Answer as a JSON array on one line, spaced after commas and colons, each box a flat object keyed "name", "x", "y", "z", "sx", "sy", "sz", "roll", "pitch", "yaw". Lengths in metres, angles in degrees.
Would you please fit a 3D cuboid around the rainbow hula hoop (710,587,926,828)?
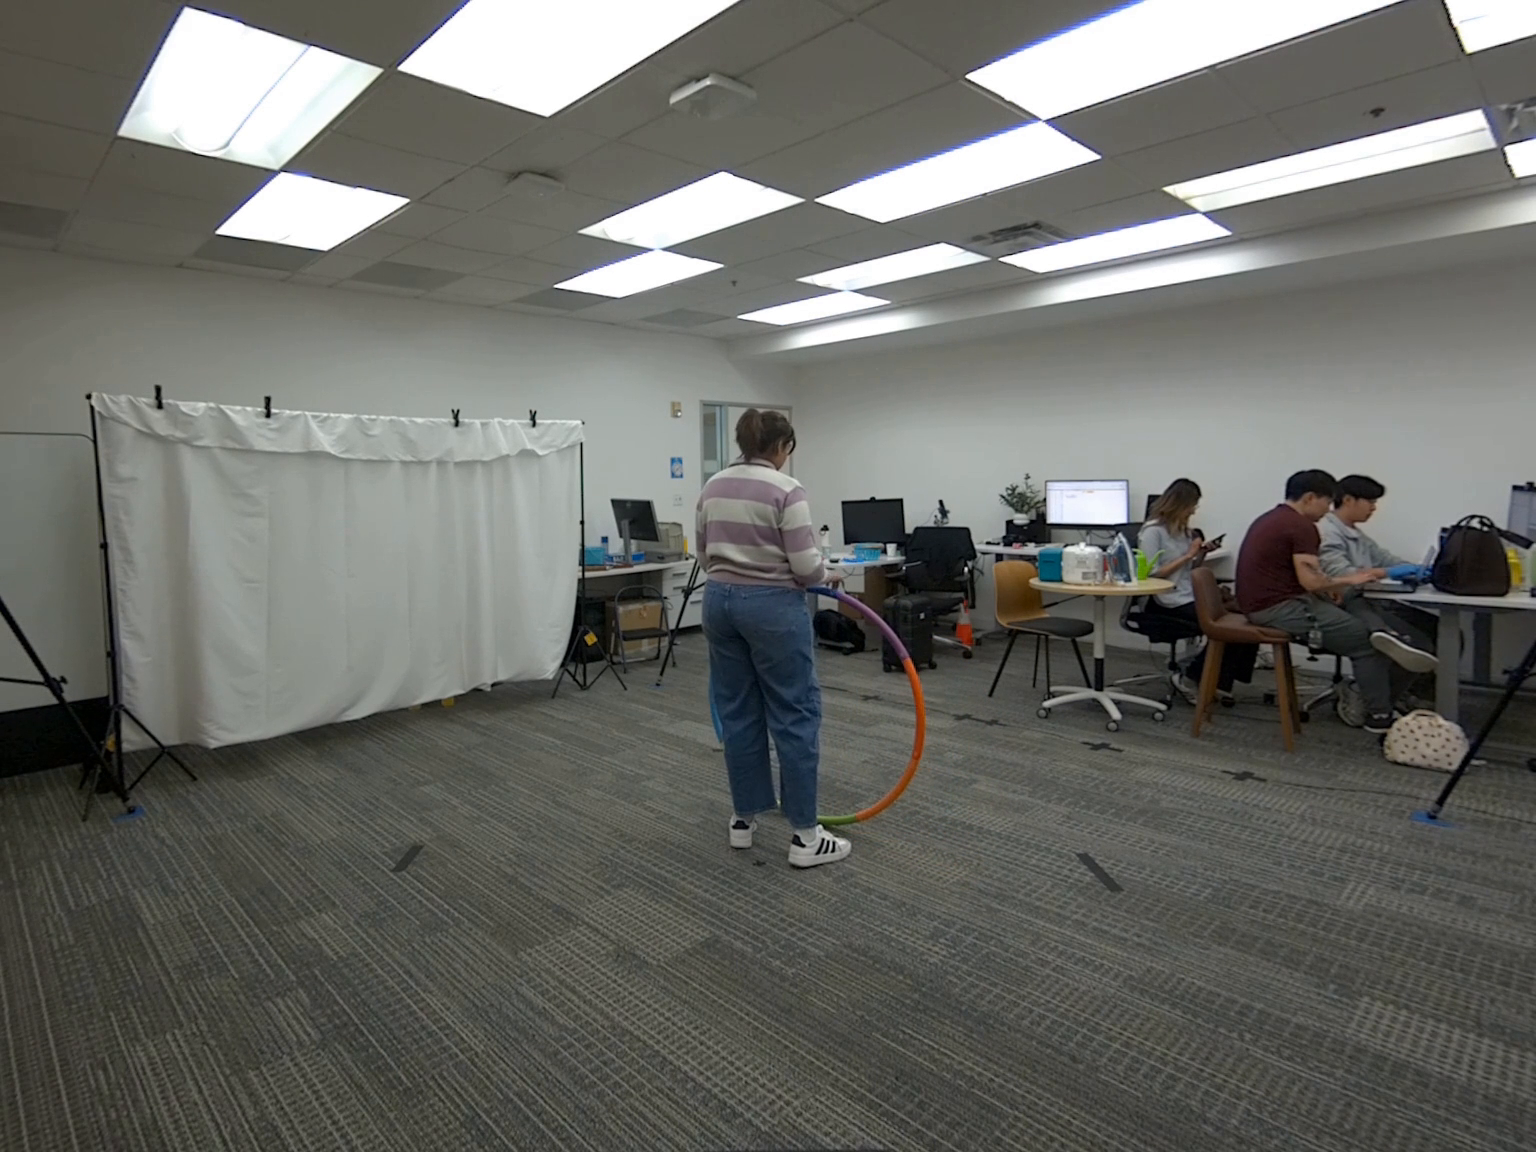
[{"name": "rainbow hula hoop", "x": 0.160, "y": 0.519, "z": 3.470, "sx": 1.013, "sy": 0.984, "sz": 0.050, "roll": 2, "pitch": 2, "yaw": 35}]
